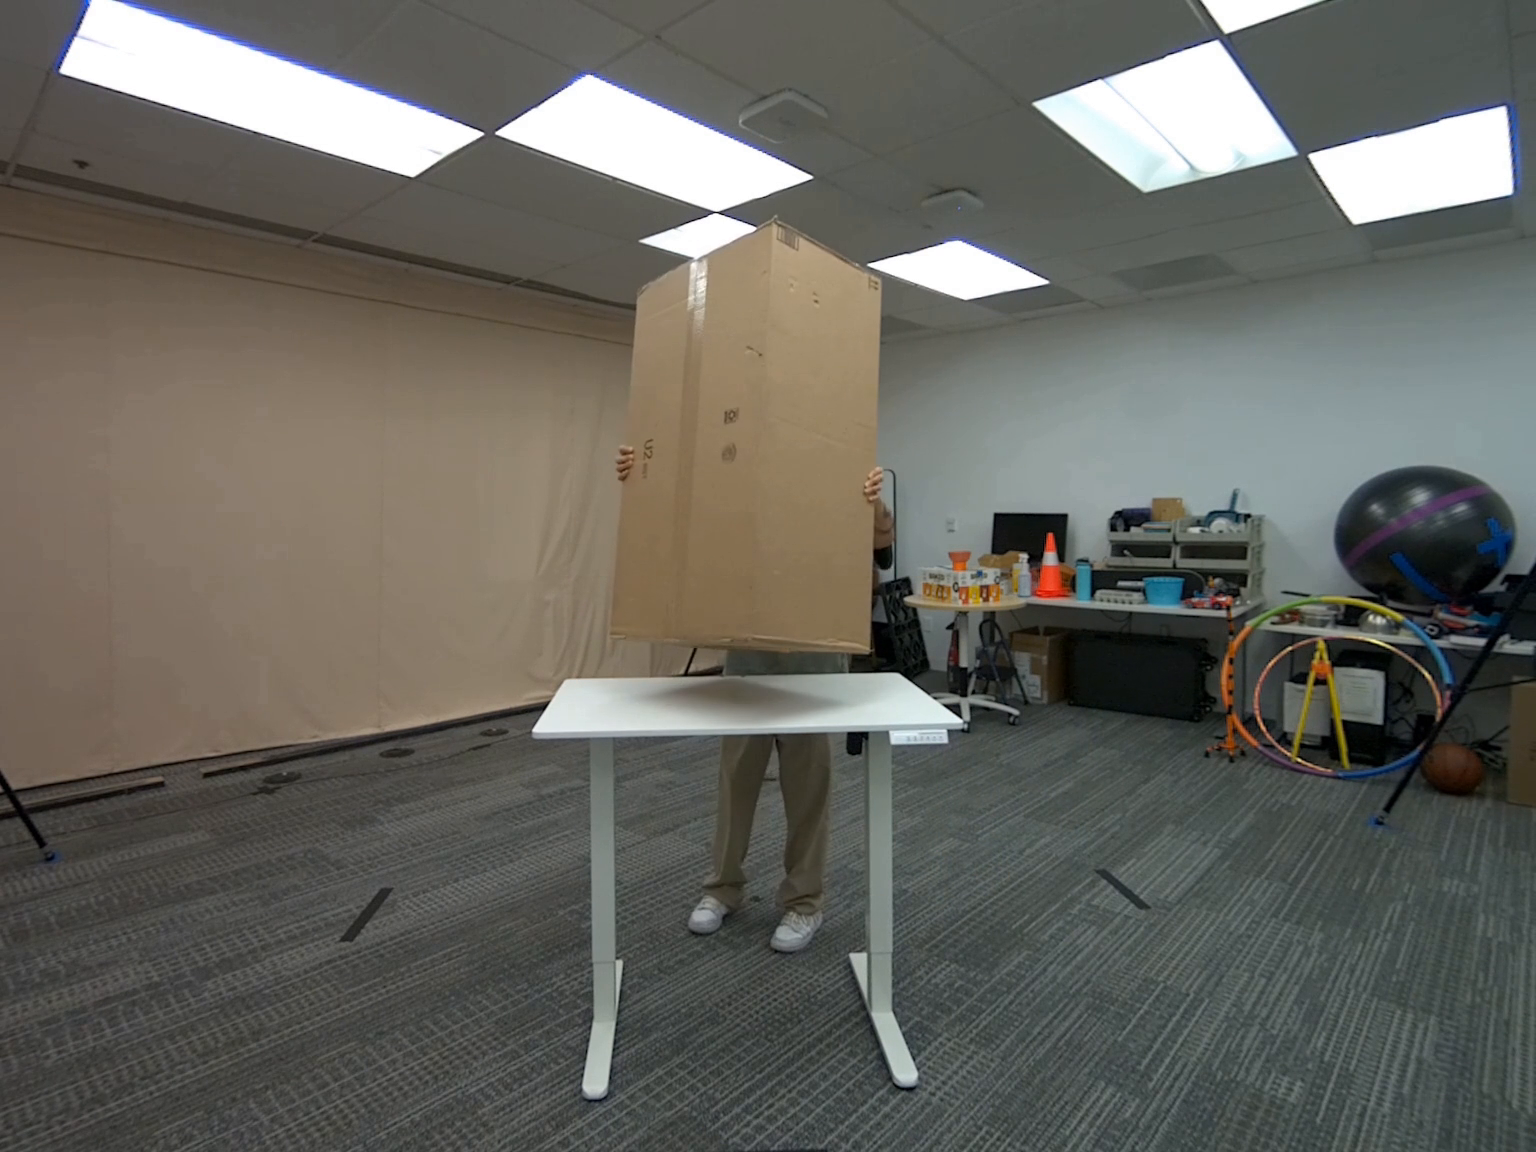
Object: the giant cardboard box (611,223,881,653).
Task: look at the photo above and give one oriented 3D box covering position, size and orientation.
[{"bbox_3d":[-0.058,-0.312,2.301,0.411,1.031,0.595,11,-11,-42],"label":"giant cardboard box"}]
